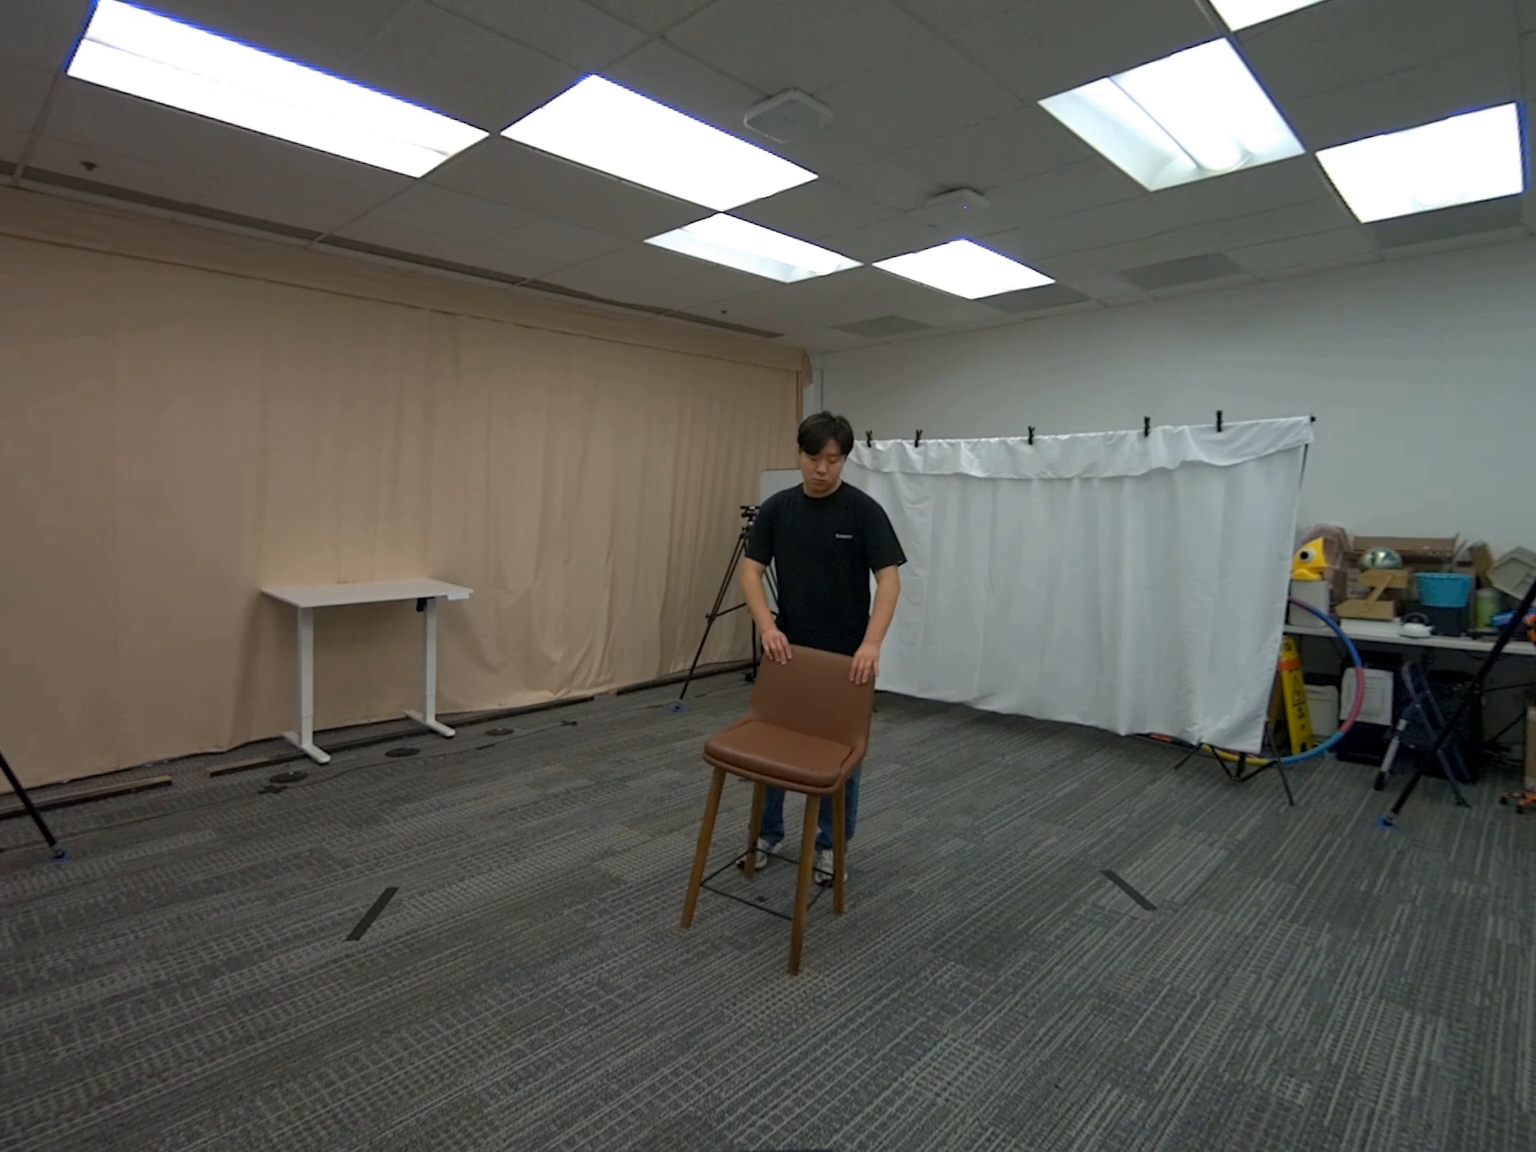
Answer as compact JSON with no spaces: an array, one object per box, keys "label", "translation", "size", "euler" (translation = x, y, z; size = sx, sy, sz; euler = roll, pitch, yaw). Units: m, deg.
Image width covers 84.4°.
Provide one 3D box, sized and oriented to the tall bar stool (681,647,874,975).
[{"label":"tall bar stool","translation":[0.054,0.706,2.741],"size":[0.470,0.888,0.455],"euler":[10,5,28]}]
